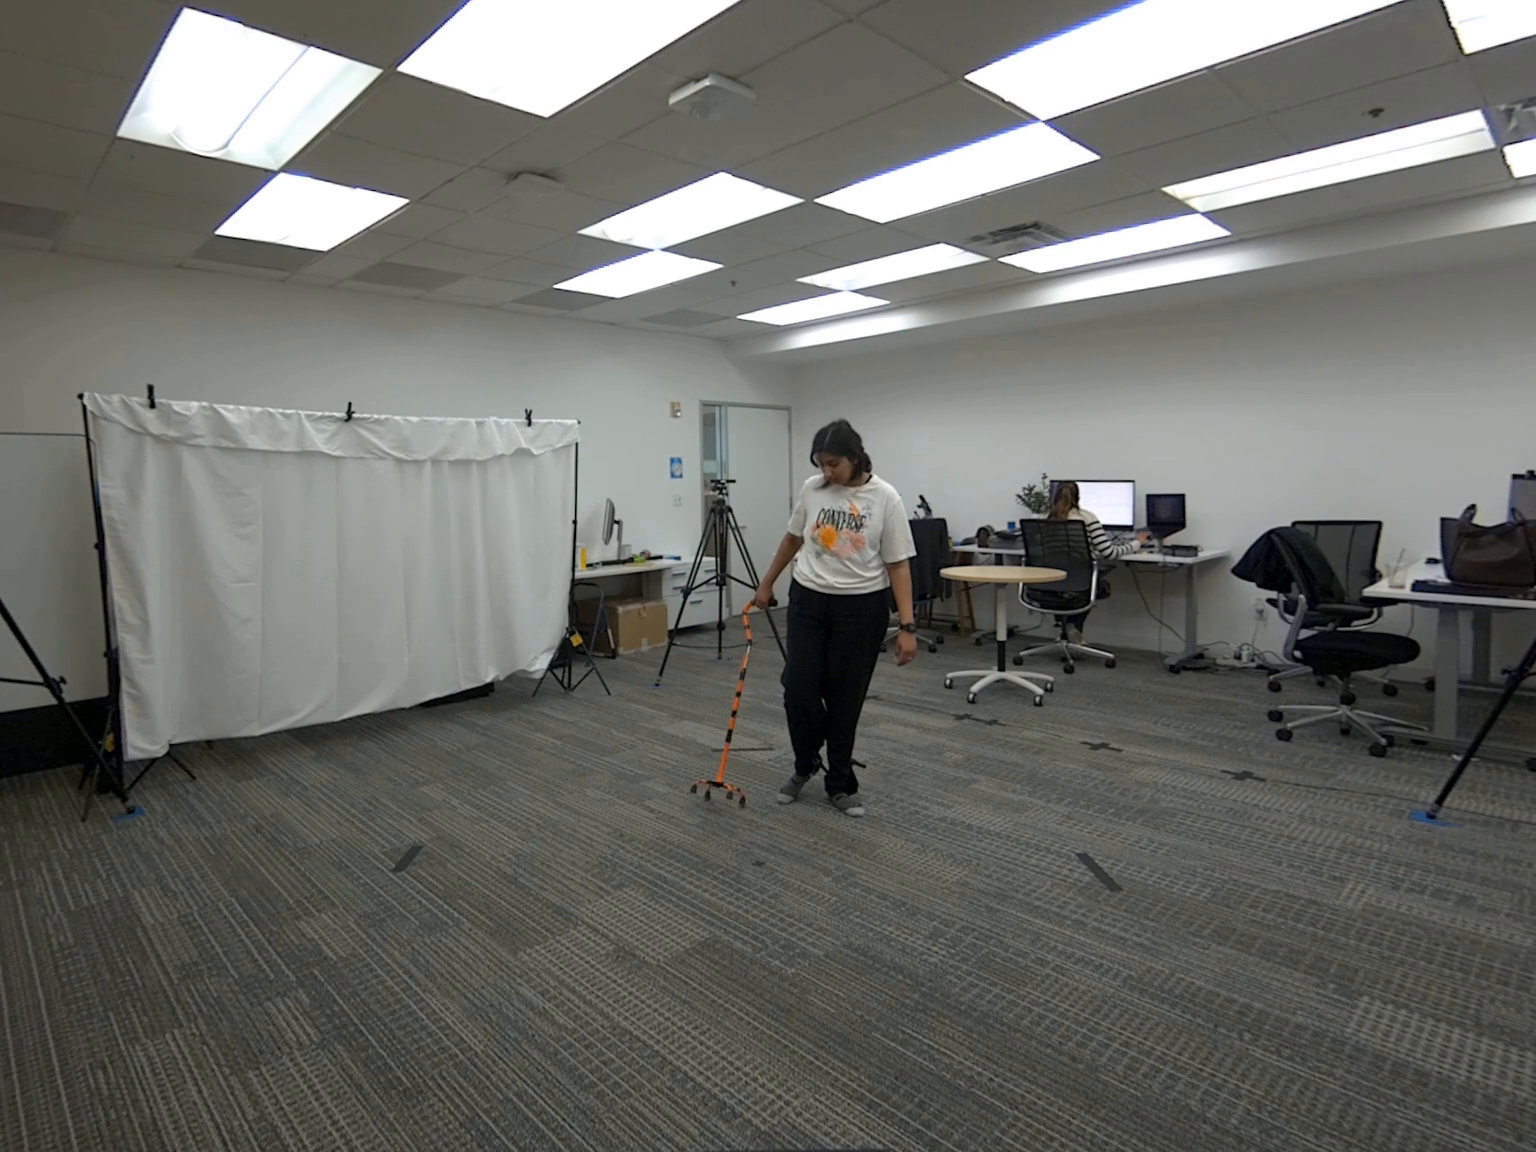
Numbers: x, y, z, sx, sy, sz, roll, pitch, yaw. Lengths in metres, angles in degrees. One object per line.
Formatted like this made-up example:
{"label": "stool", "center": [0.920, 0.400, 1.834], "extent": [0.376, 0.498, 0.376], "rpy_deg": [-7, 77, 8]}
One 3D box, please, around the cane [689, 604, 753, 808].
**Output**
{"label": "cane", "center": [-0.129, 0.542, 3.814], "extent": [0.211, 0.921, 0.146], "rpy_deg": [0, -25, 27]}
